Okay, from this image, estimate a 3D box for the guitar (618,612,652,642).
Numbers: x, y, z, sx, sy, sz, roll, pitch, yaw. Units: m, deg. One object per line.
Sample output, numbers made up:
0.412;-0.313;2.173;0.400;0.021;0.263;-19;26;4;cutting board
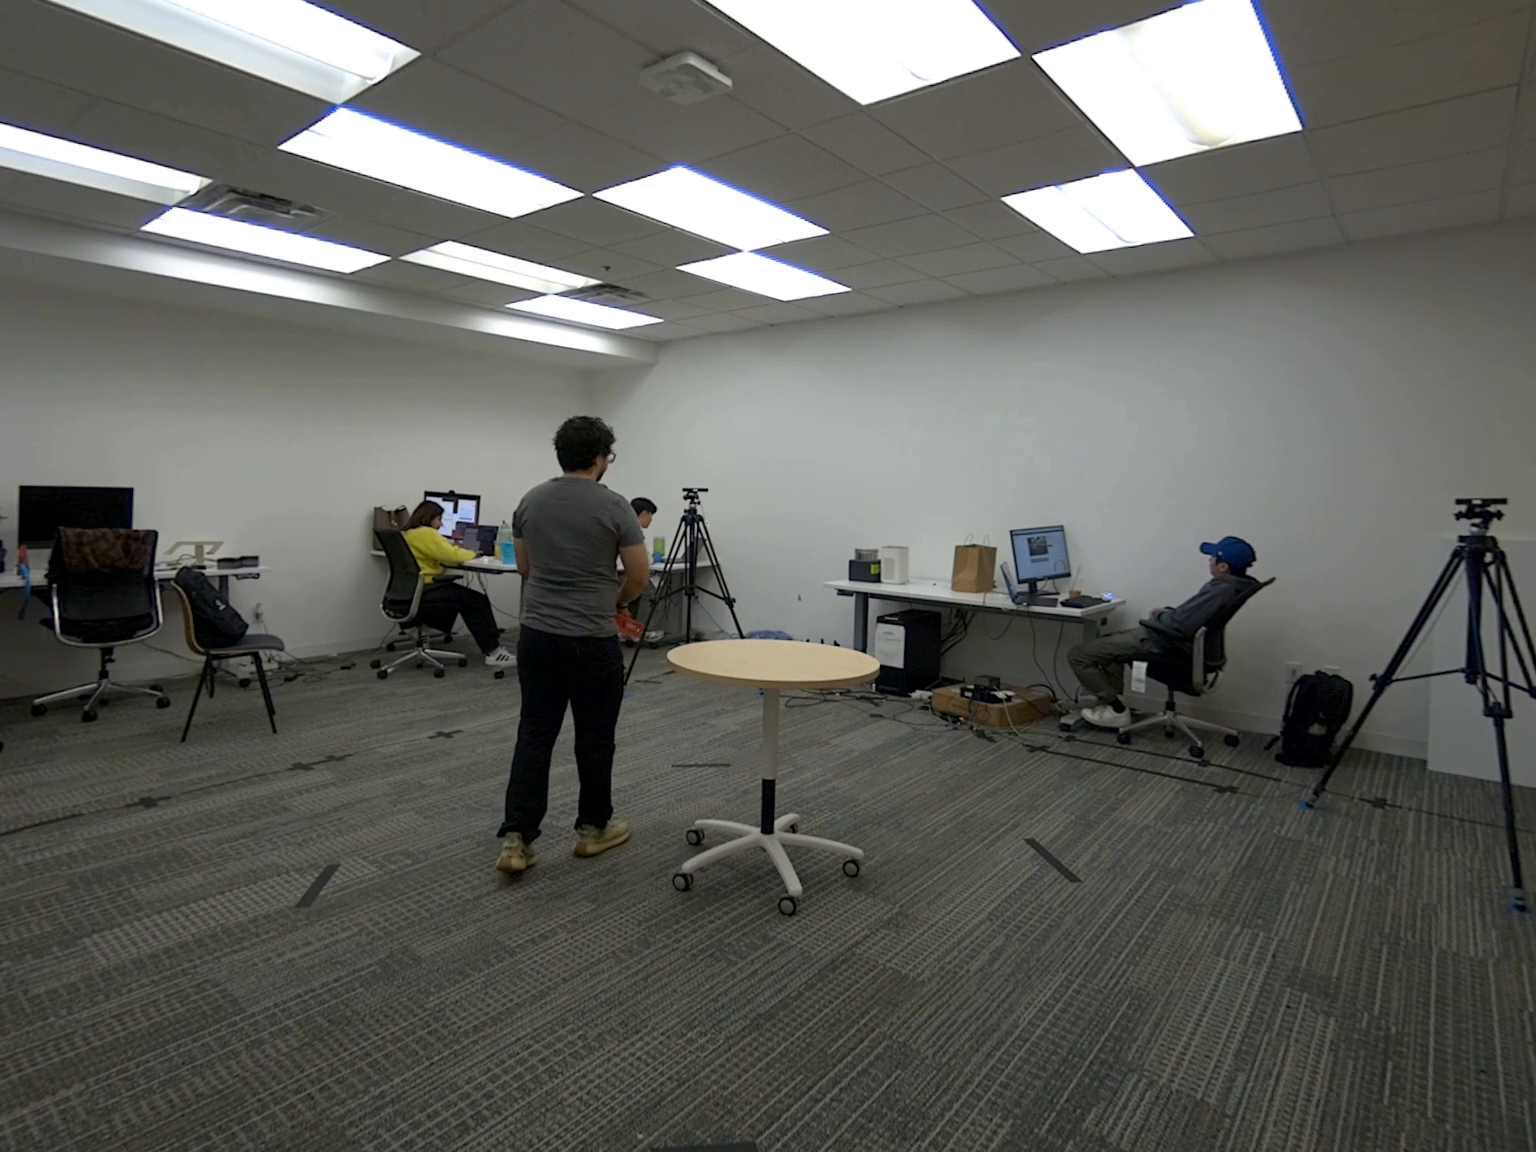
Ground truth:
-0.707;0.167;3.517;0.185;0.071;0.515;25;-9;-37;guitar
